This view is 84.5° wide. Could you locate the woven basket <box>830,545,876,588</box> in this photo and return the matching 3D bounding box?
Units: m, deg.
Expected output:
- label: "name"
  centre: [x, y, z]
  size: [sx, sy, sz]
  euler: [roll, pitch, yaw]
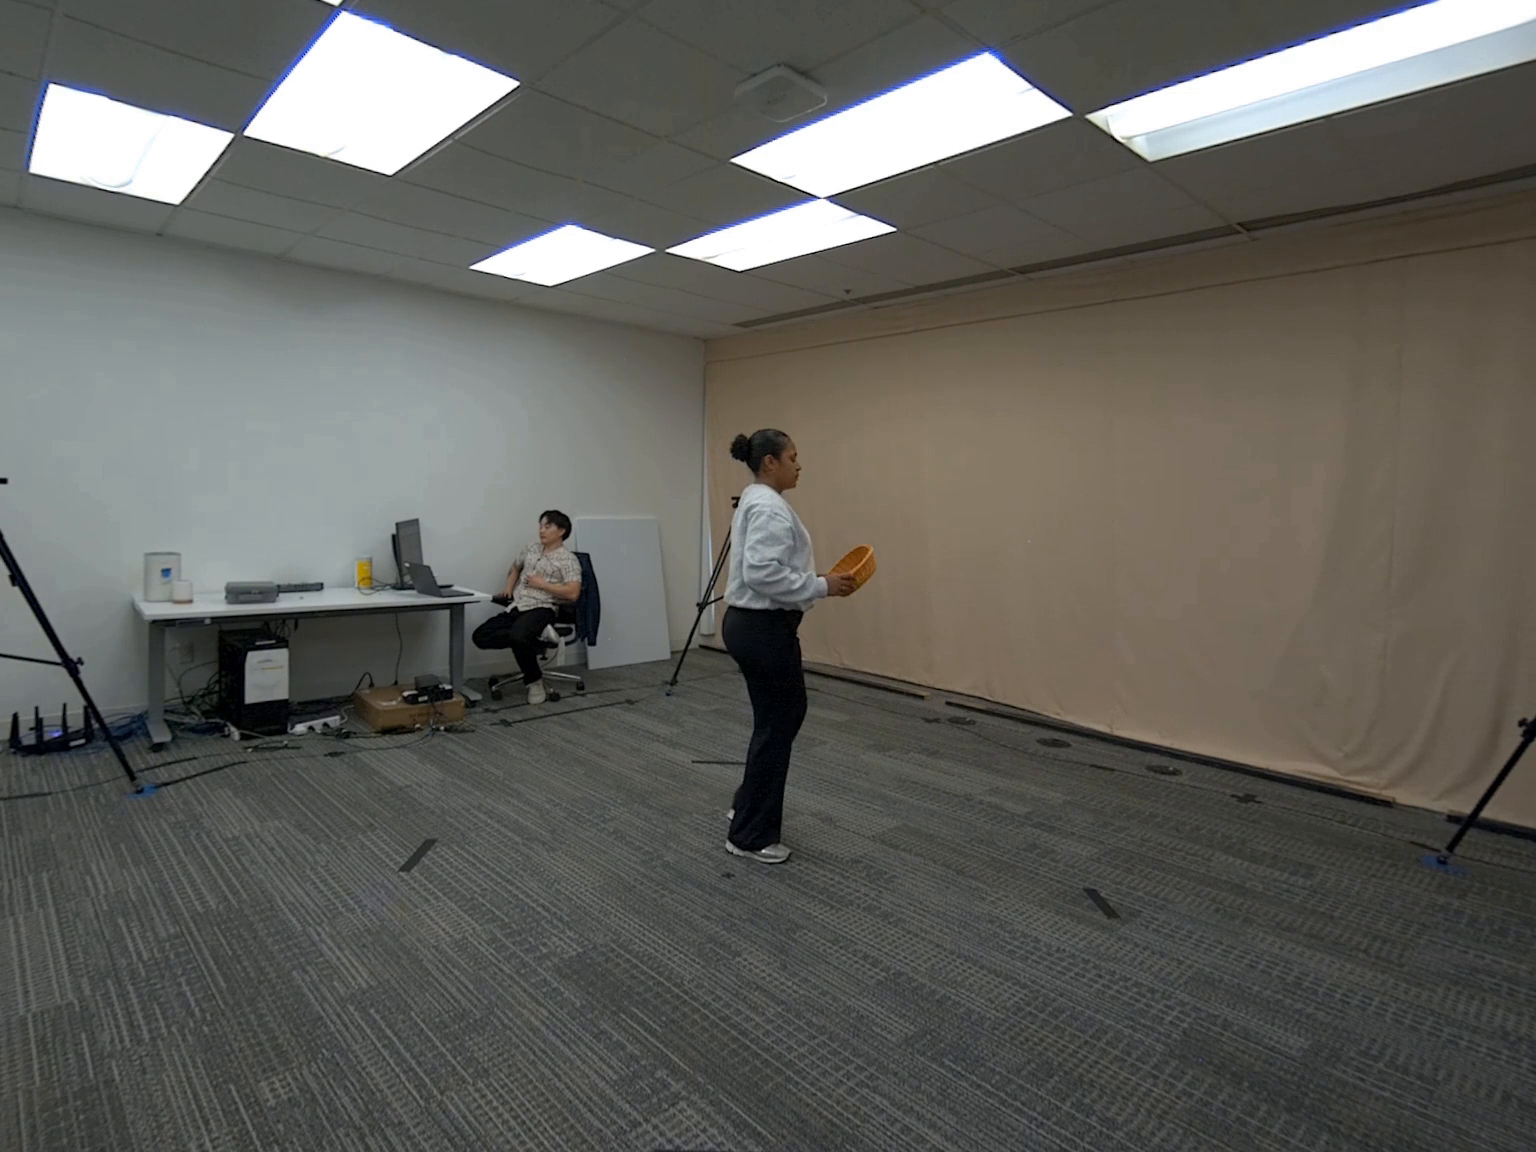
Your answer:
- label: "woven basket"
  centre: [0.302, -0.011, 3.248]
  size: [0.252, 0.073, 0.353]
  euler: [-43, 8, -3]
